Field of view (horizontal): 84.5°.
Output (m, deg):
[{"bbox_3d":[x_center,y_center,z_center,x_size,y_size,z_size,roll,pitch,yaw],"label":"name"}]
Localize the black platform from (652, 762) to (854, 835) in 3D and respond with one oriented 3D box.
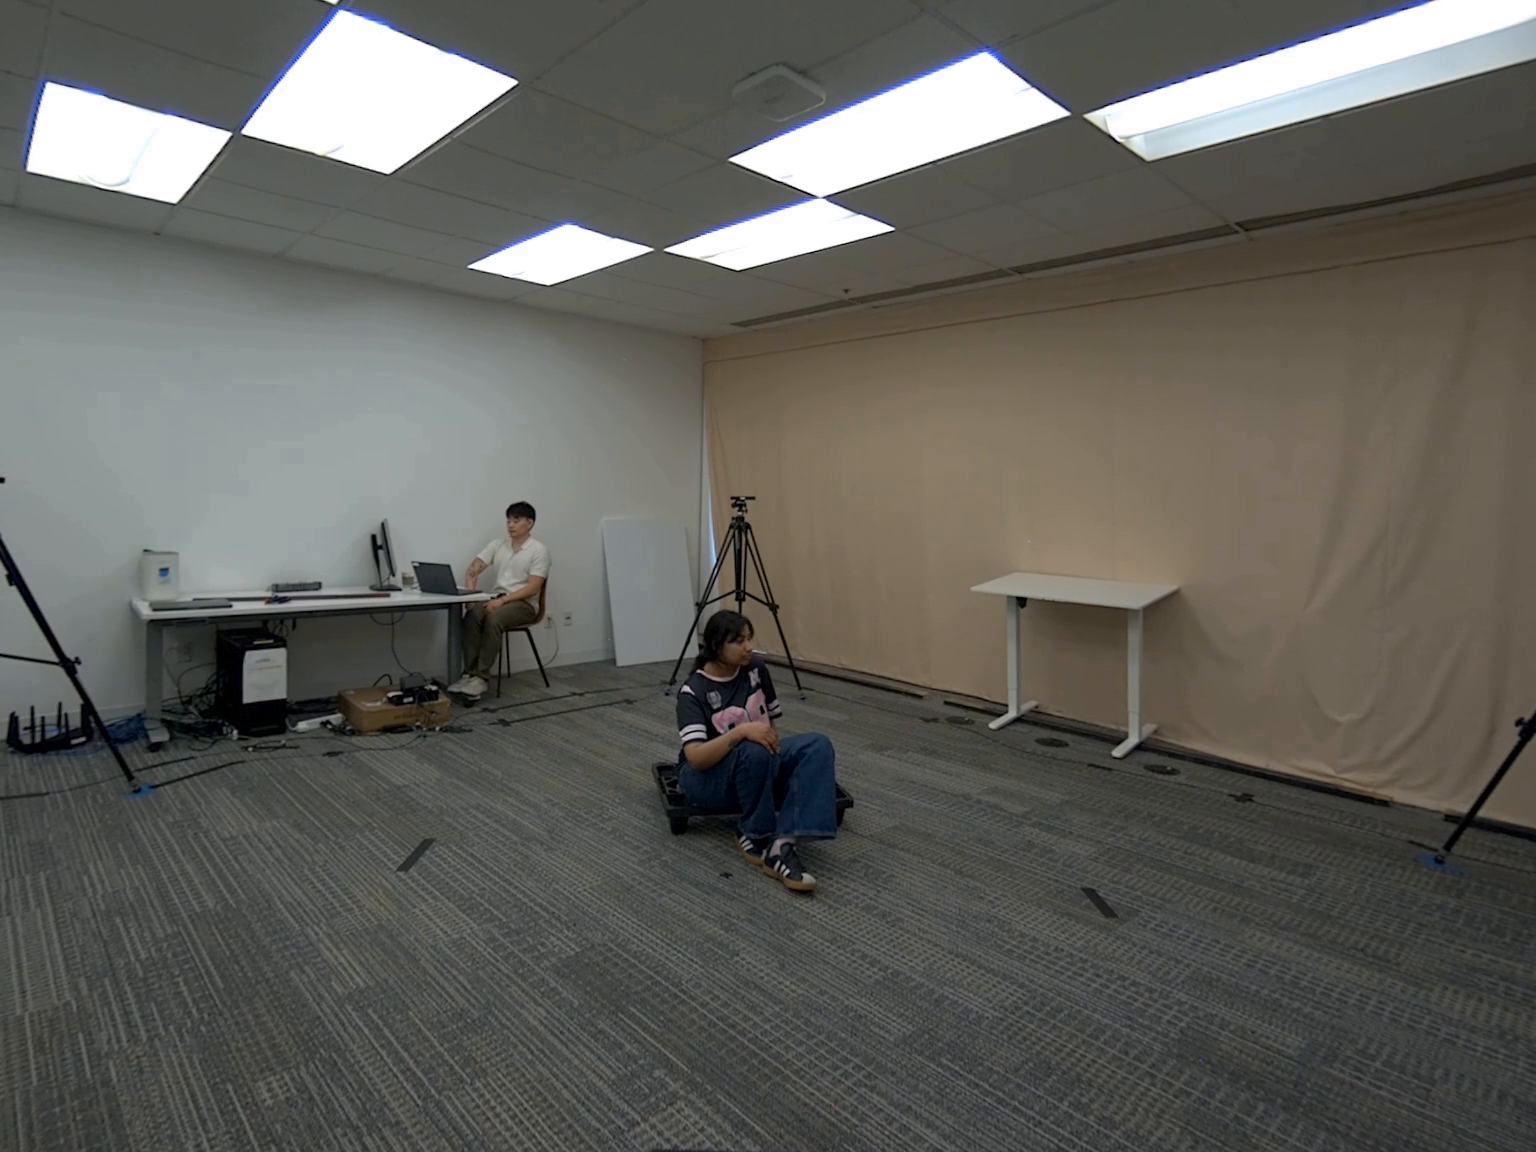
[{"bbox_3d":[-0.095,0.978,3.767,0.798,0.143,0.612,0,5,-12],"label":"black platform"}]
